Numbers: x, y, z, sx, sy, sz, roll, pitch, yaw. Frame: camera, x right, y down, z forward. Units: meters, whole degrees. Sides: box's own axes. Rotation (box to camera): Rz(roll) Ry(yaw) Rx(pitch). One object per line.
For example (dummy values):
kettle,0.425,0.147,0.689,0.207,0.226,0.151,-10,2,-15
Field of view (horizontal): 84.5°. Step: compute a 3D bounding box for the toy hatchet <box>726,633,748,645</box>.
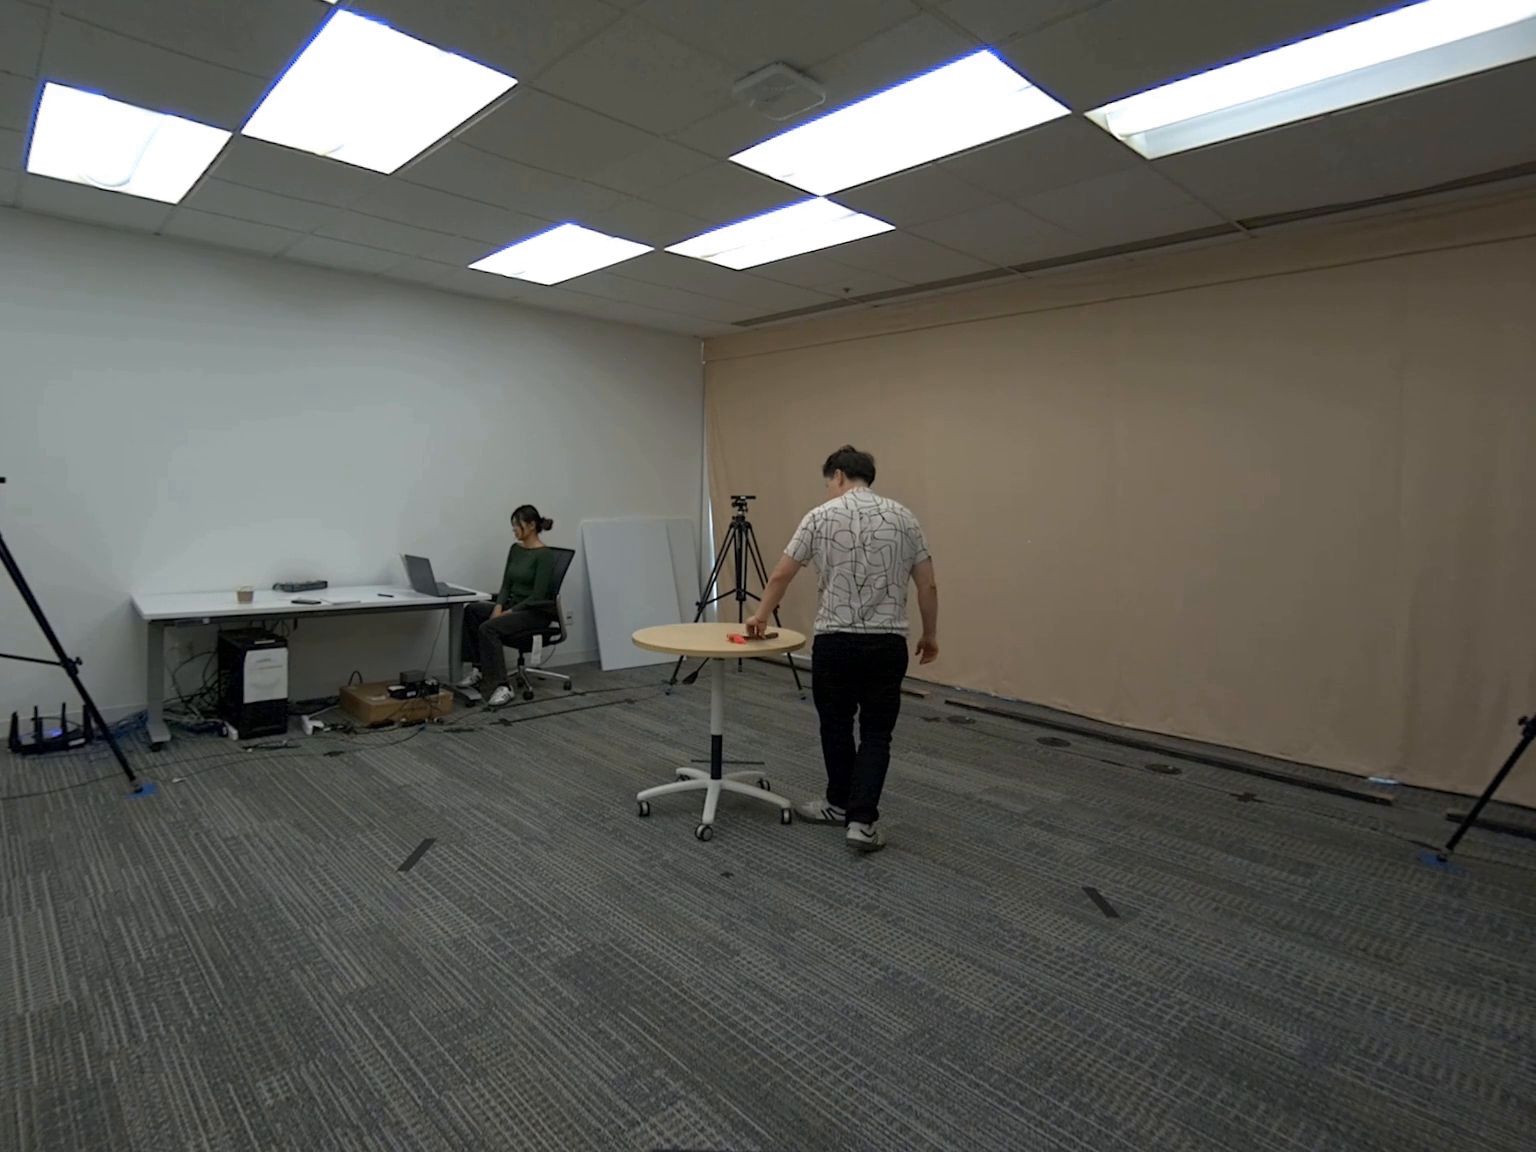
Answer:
toy hatchet,-0.080,0.261,3.646,0.134,0.029,0.264,4,5,35
